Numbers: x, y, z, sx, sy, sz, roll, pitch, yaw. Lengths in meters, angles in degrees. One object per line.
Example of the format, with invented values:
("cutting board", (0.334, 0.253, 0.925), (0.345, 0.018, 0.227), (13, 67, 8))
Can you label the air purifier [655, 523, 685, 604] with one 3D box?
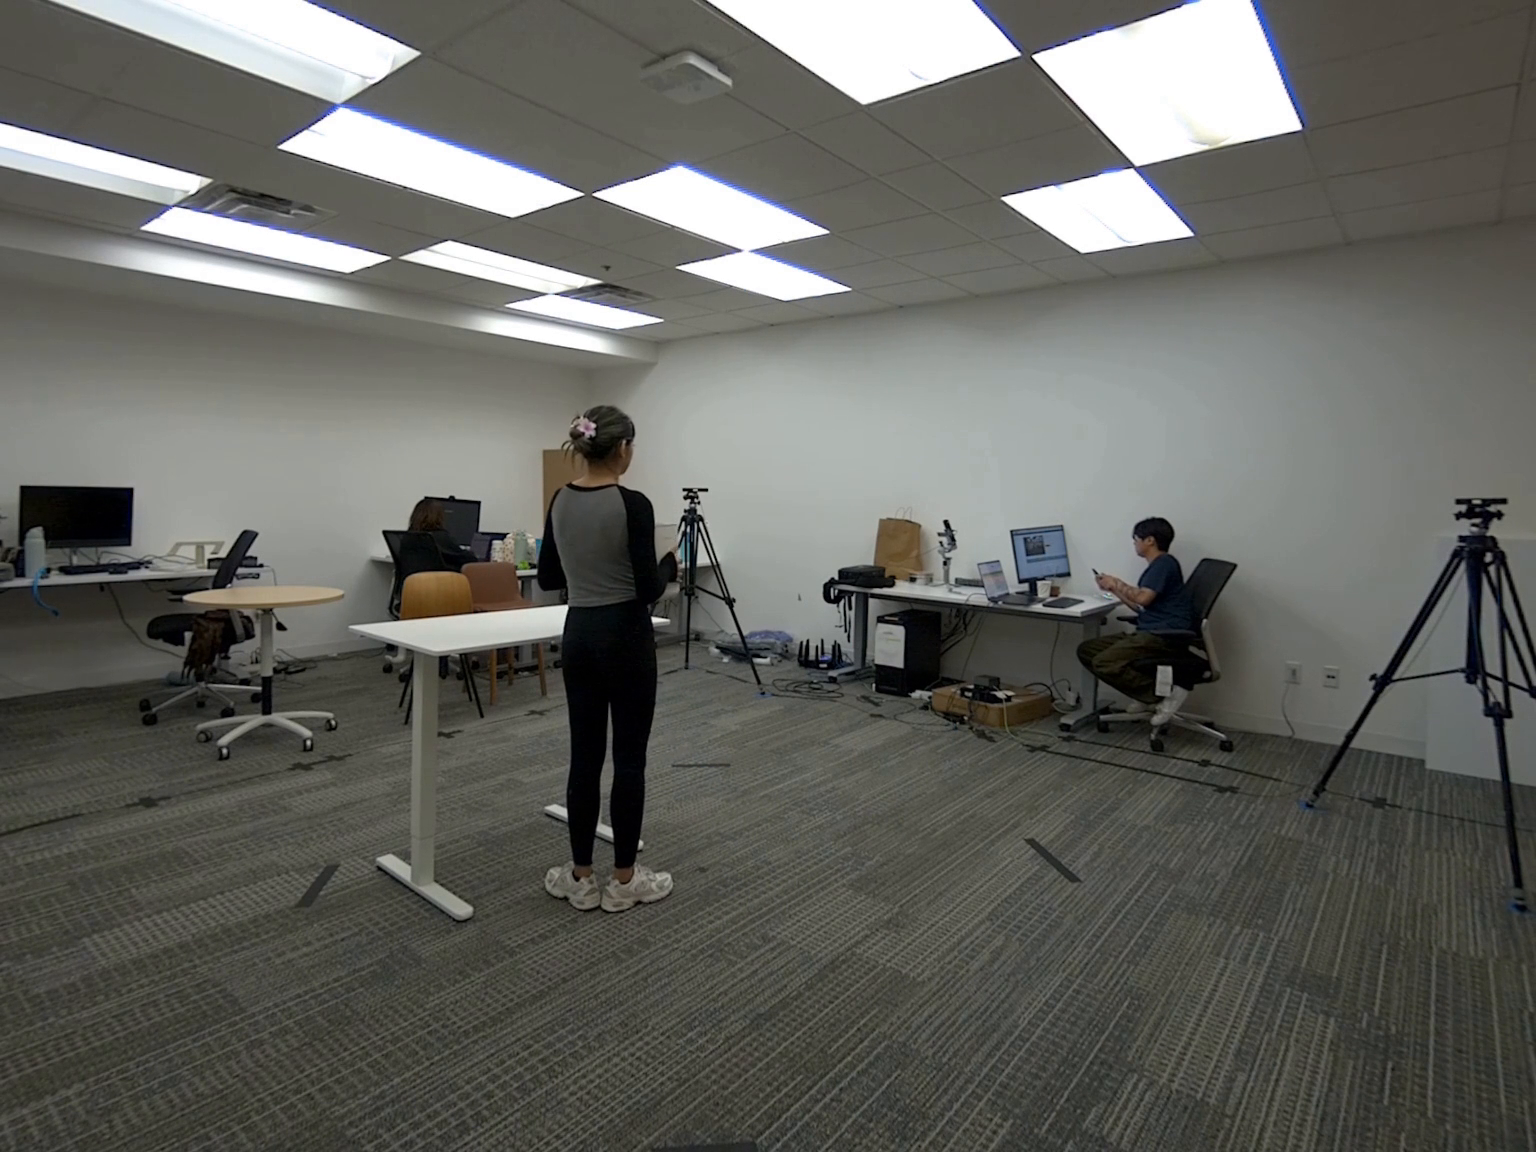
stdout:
("air purifier", (-0.420, -0.052, 3.010), (0.176, 0.264, 0.167), (1, 5, 26))
